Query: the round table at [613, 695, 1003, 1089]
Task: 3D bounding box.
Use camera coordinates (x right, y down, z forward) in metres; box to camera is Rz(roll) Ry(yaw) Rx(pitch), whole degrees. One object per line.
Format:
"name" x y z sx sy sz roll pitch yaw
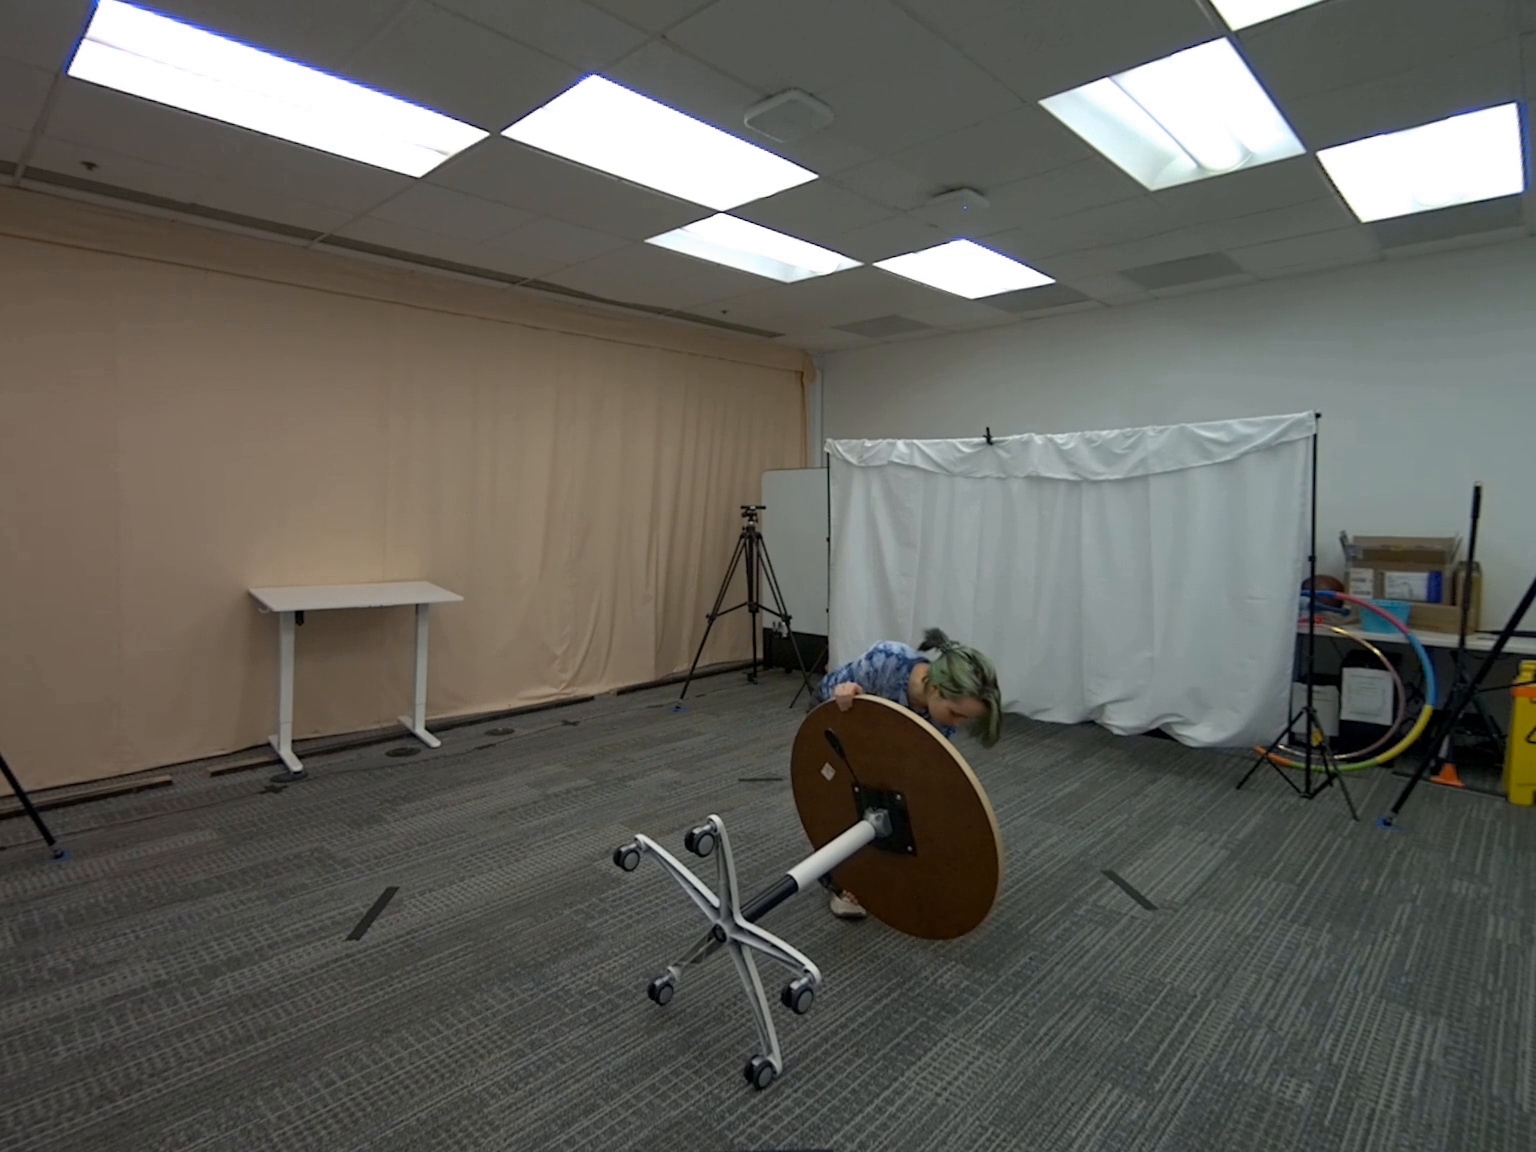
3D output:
"round table" 0.097 0.825 2.312 0.775 0.757 0.789 -19 16 -41
